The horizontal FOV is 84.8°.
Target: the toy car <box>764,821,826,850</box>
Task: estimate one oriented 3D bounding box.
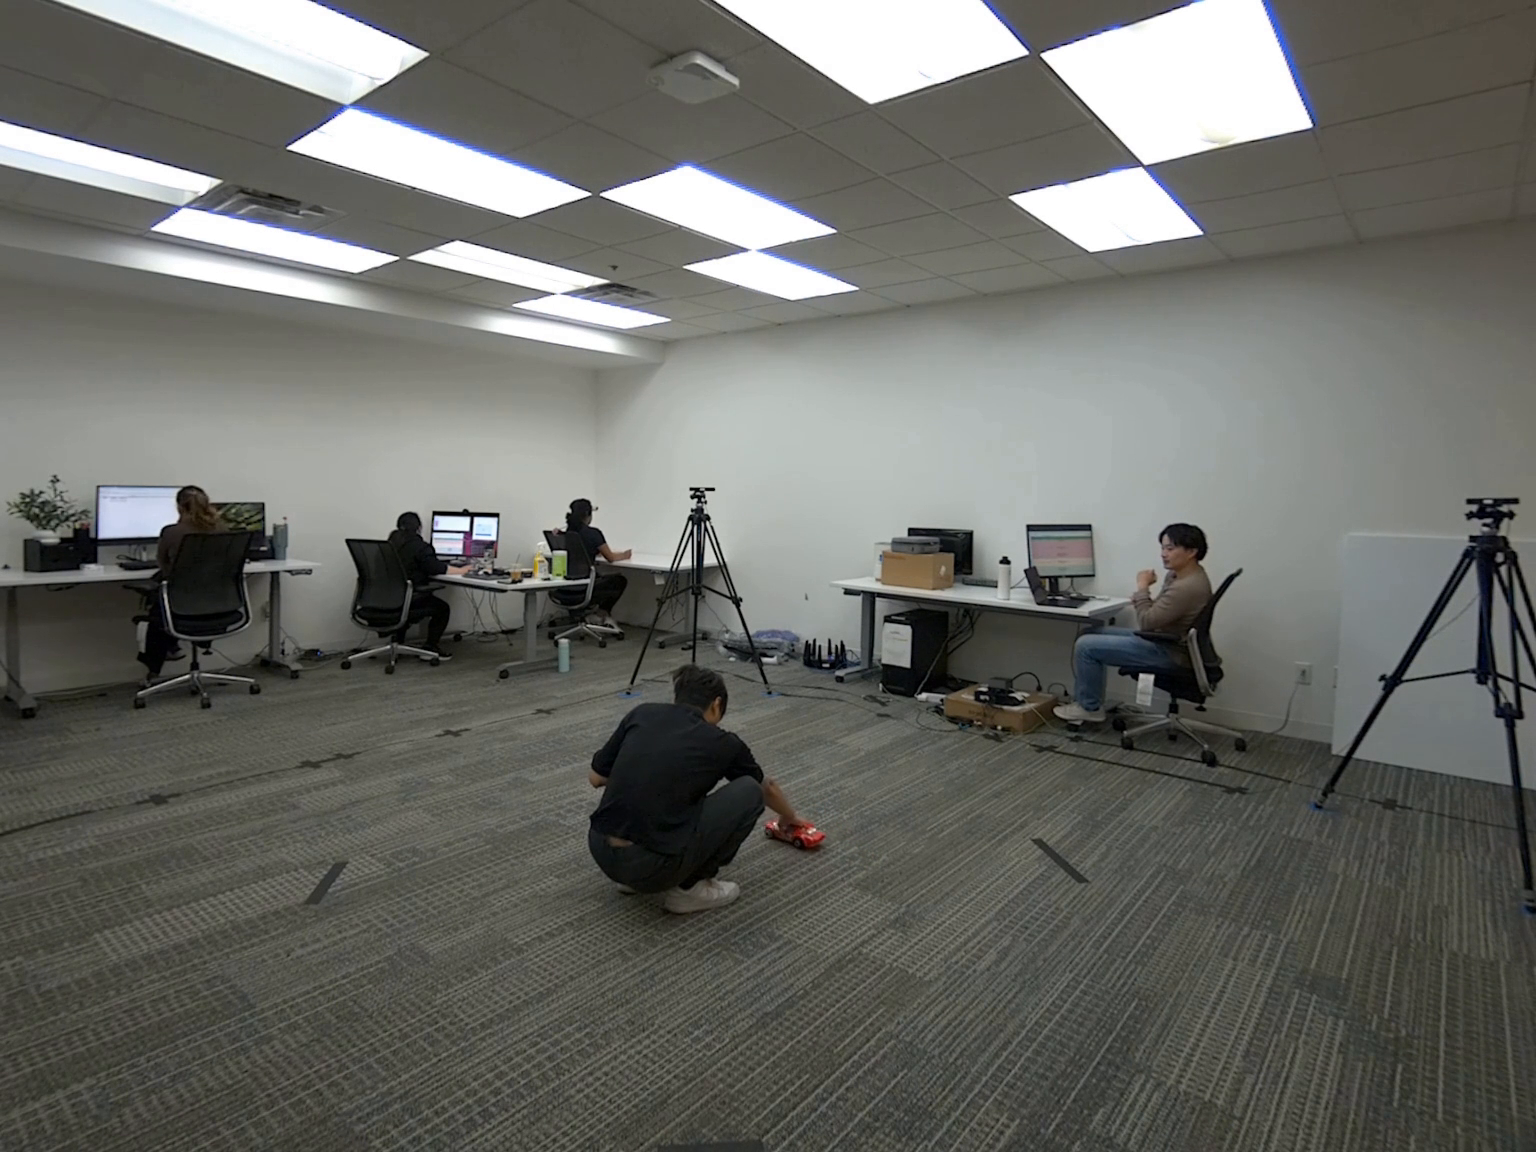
[{"bbox_3d":[0.104,1.015,3.365,0.261,0.083,0.126,-8,-4,40],"label":"toy car"}]
